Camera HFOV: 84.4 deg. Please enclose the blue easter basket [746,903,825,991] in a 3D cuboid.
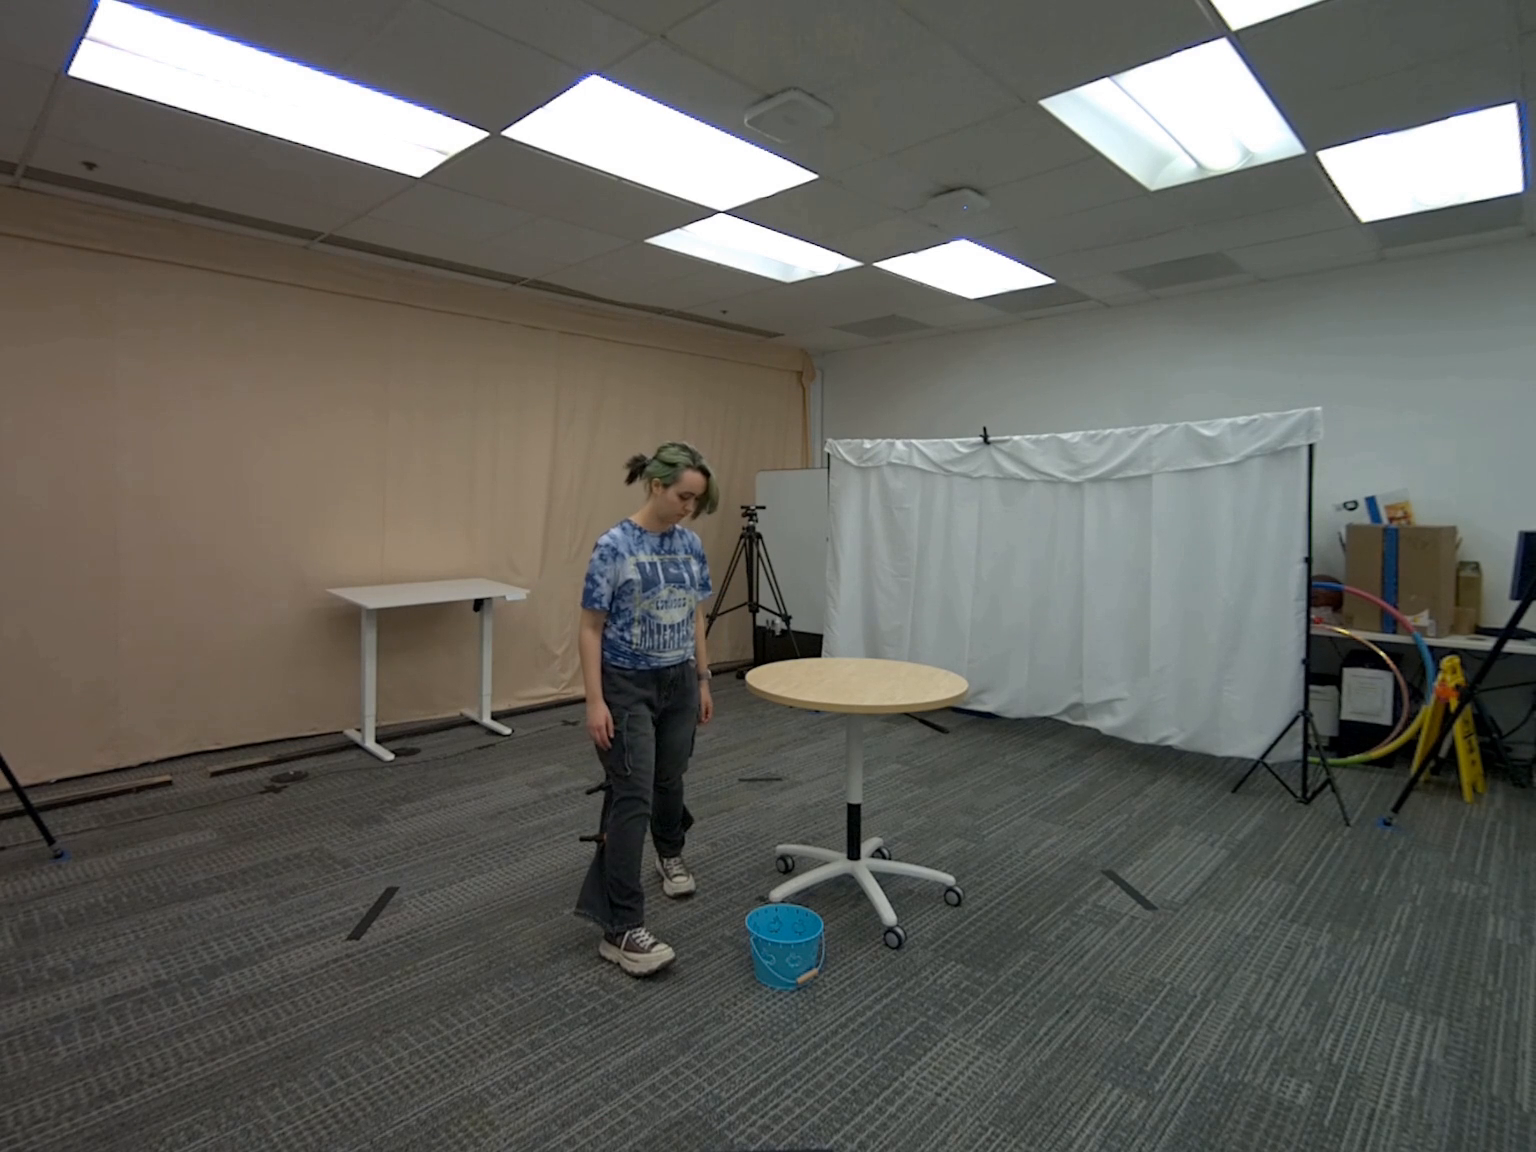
[{"bbox_3d":[0.049,1.107,2.502,0.243,0.155,0.244,0,4,-2],"label":"blue easter basket"}]
